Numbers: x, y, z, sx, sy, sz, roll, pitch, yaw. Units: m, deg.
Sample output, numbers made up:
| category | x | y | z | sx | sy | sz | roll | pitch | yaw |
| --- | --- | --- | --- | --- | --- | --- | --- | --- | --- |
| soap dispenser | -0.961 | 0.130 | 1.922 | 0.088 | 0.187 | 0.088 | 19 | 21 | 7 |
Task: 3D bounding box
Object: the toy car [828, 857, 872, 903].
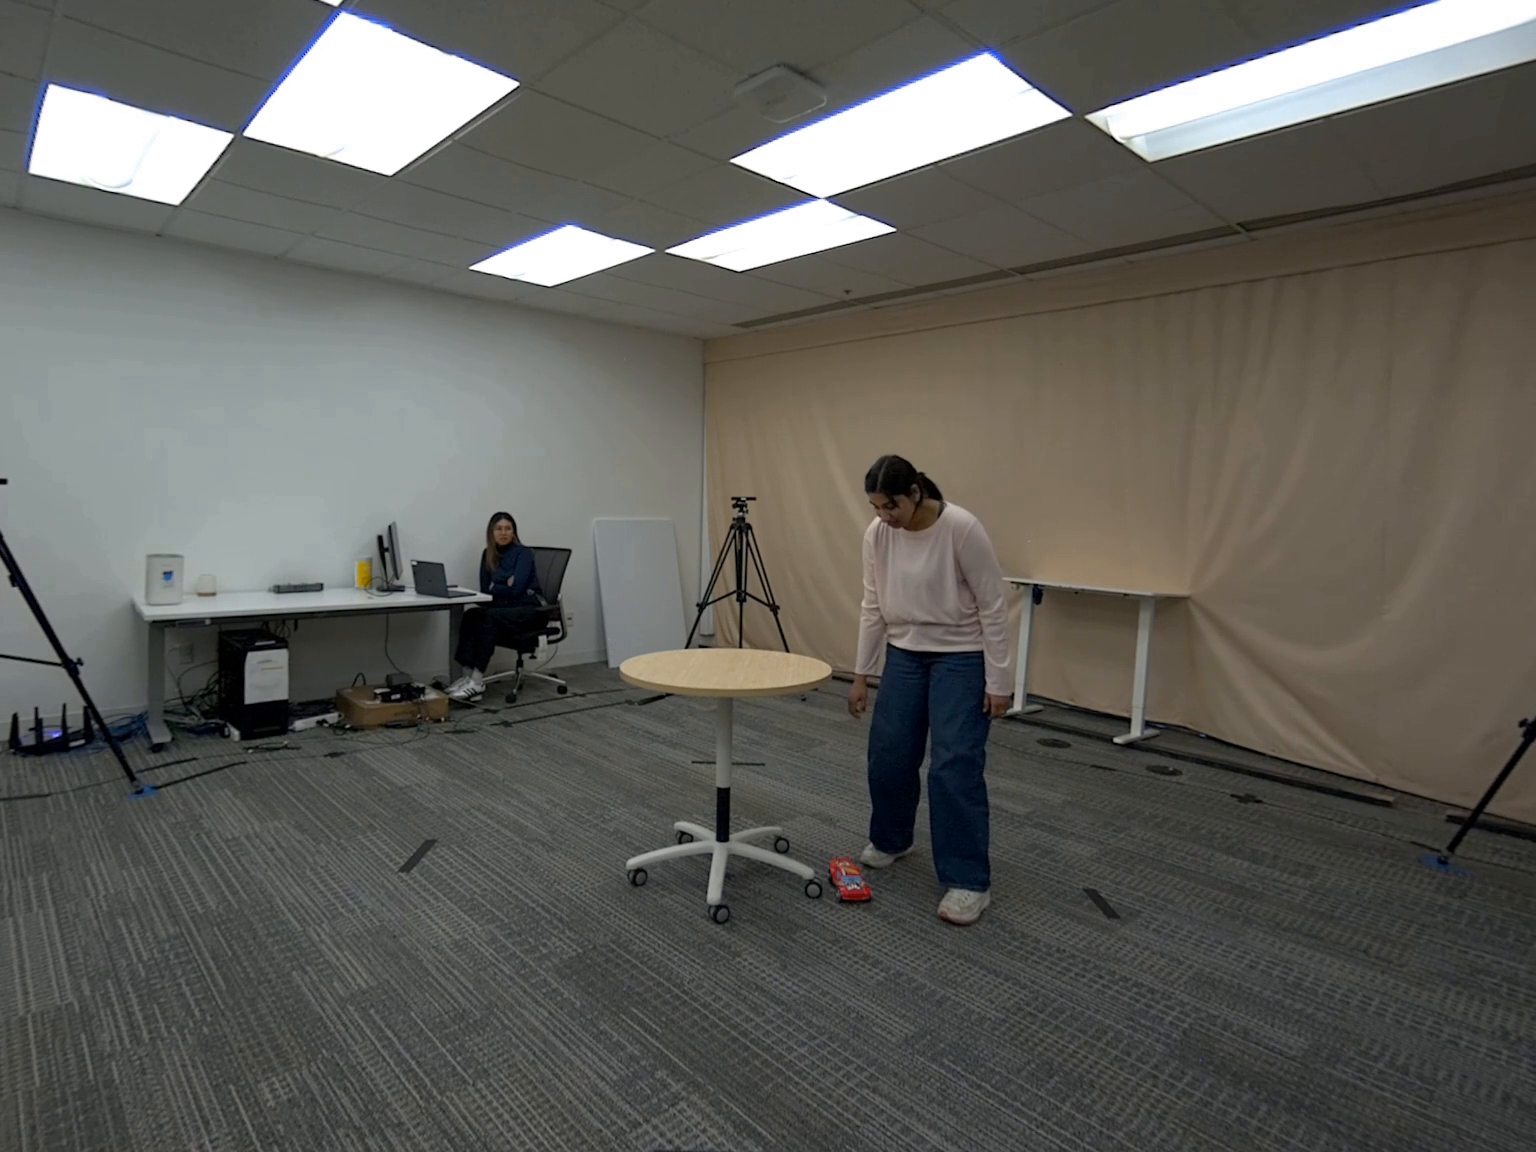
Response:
| category | x | y | z | sx | sy | sz | roll | pitch | yaw |
| --- | --- | --- | --- | --- | --- | --- | --- | --- | --- |
| toy car | 0.277 | 1.083 | 3.027 | 0.129 | 0.082 | 0.259 | 1 | 16 | -9 |
